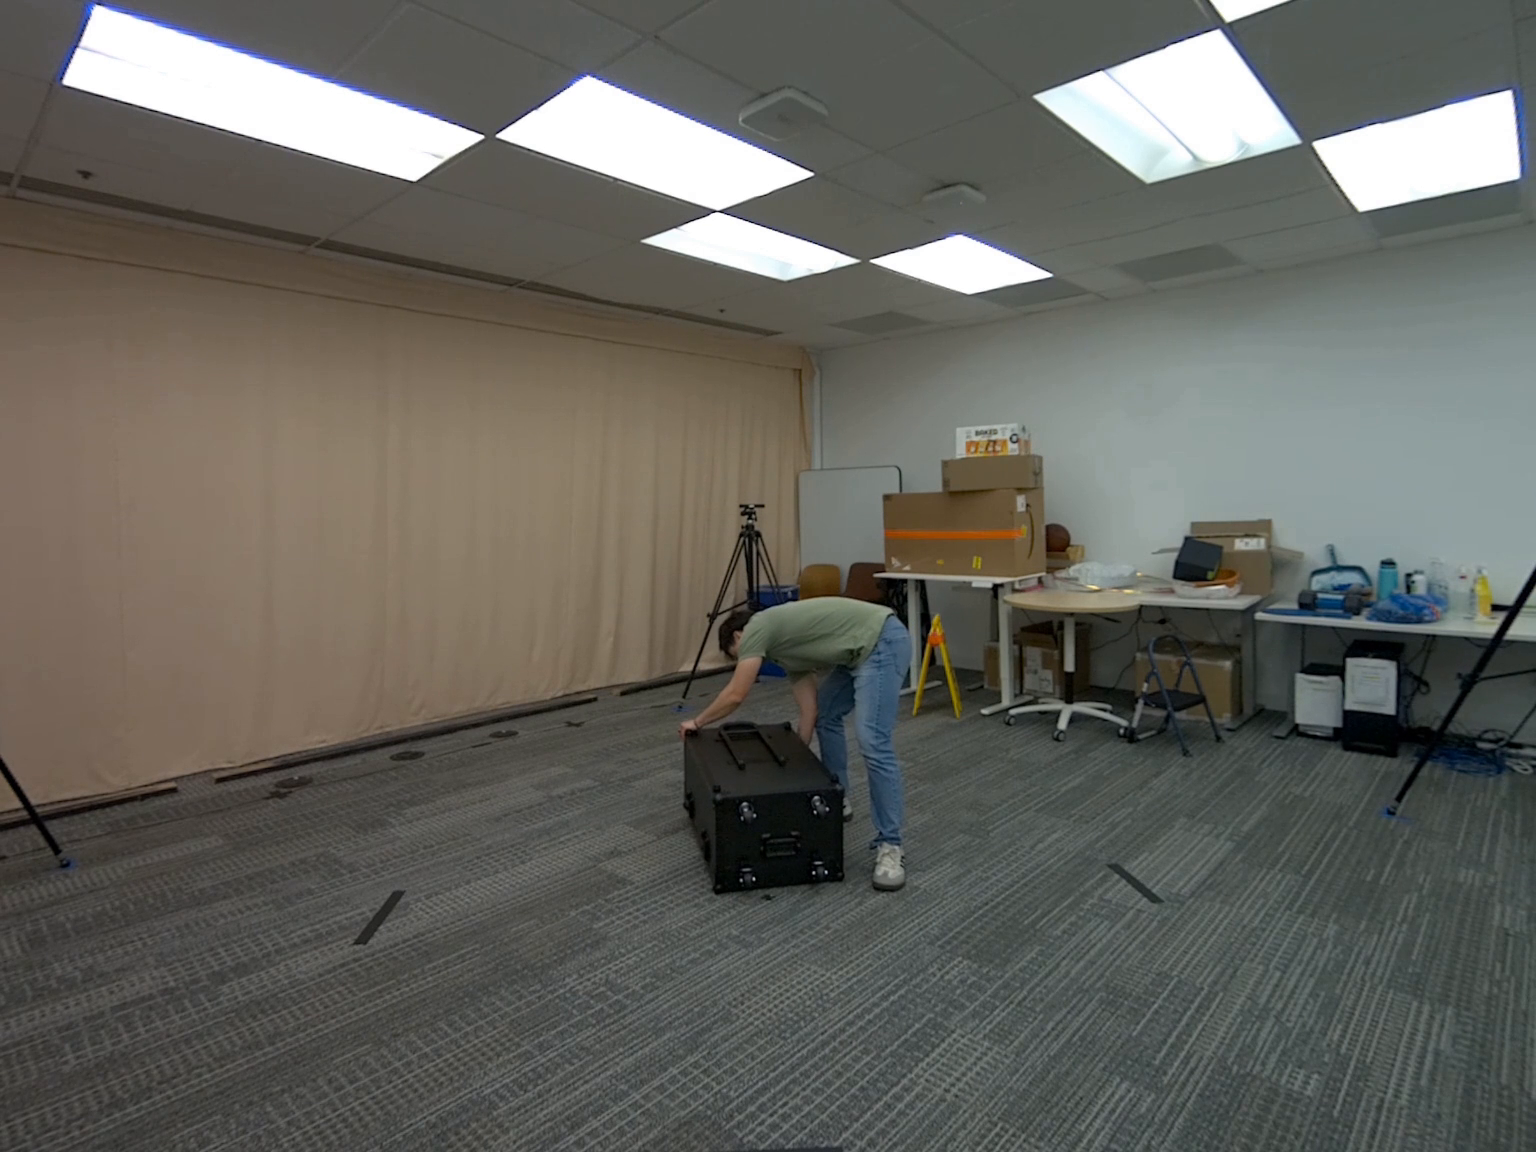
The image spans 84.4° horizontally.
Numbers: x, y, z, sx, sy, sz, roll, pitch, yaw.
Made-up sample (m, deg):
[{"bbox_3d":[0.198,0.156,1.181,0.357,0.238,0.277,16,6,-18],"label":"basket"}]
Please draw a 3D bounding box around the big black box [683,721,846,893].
[{"bbox_3d":[-0.039,0.895,3.379,0.515,0.394,0.876,-2,8,-13],"label":"big black box"}]
